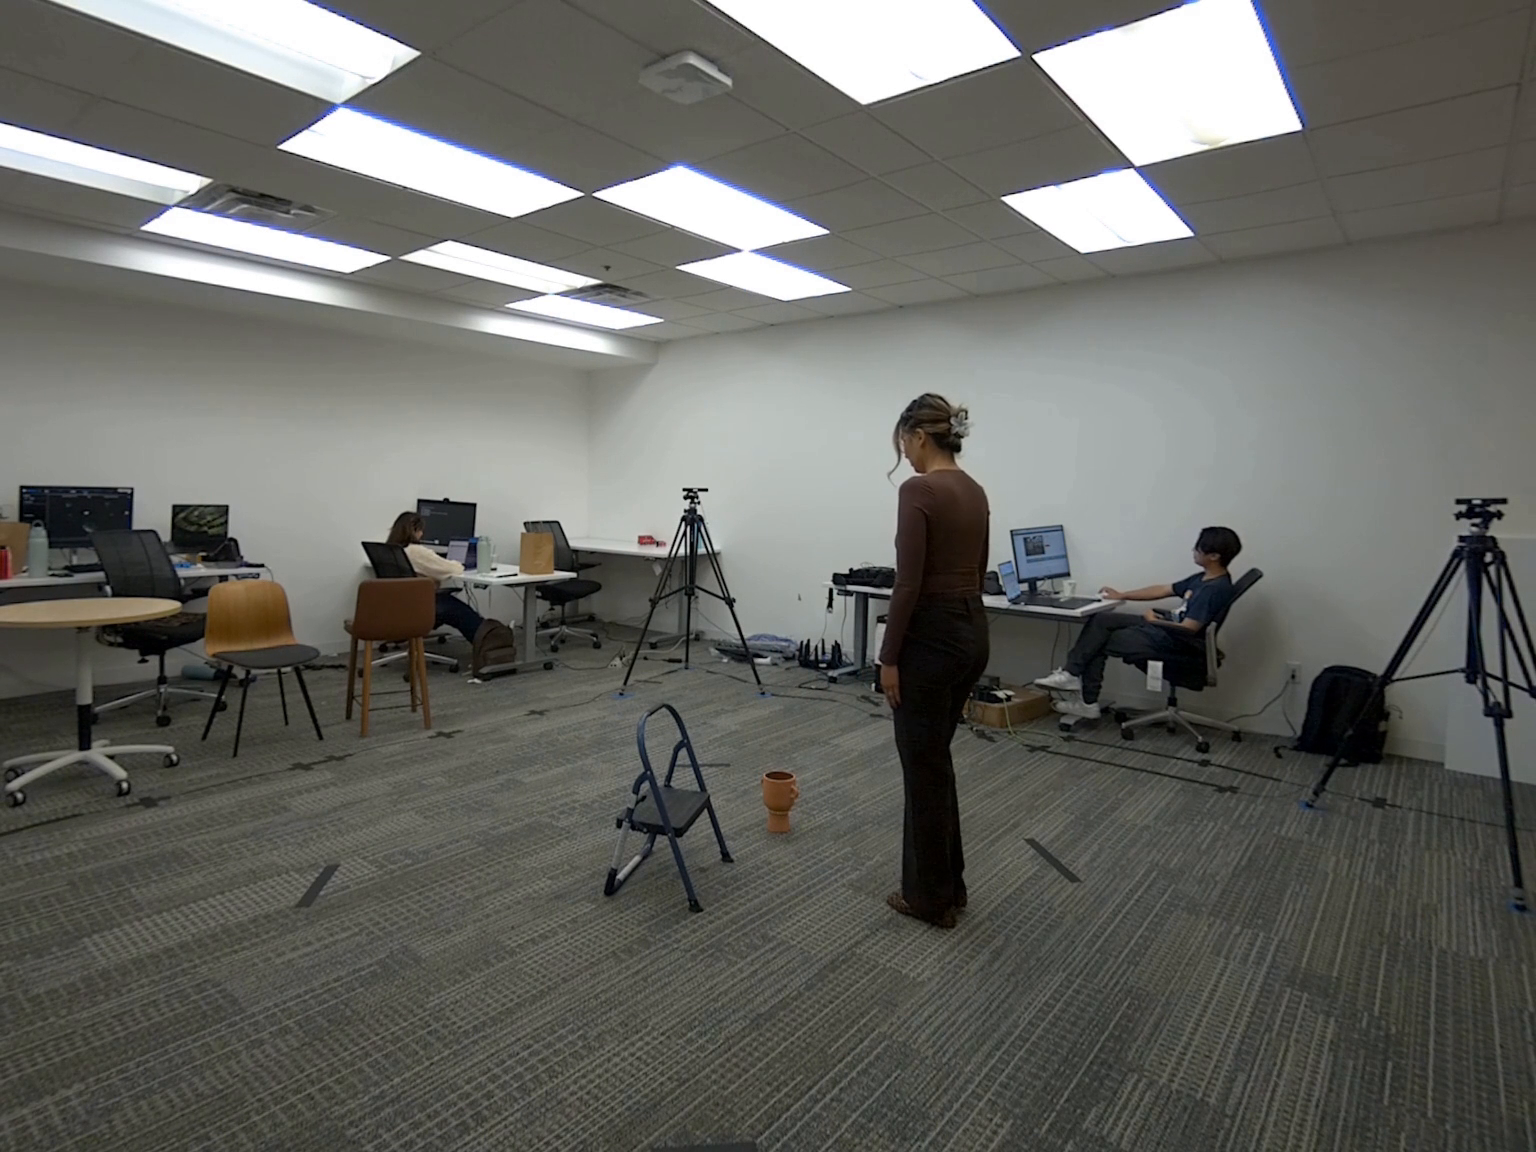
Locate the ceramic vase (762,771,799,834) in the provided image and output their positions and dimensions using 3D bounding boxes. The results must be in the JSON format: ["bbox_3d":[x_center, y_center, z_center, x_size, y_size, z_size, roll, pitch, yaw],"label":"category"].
[{"bbox_3d":[0.037,0.924,3.497,0.133,0.219,0.160,1,4,-8],"label":"ceramic vase"}]
